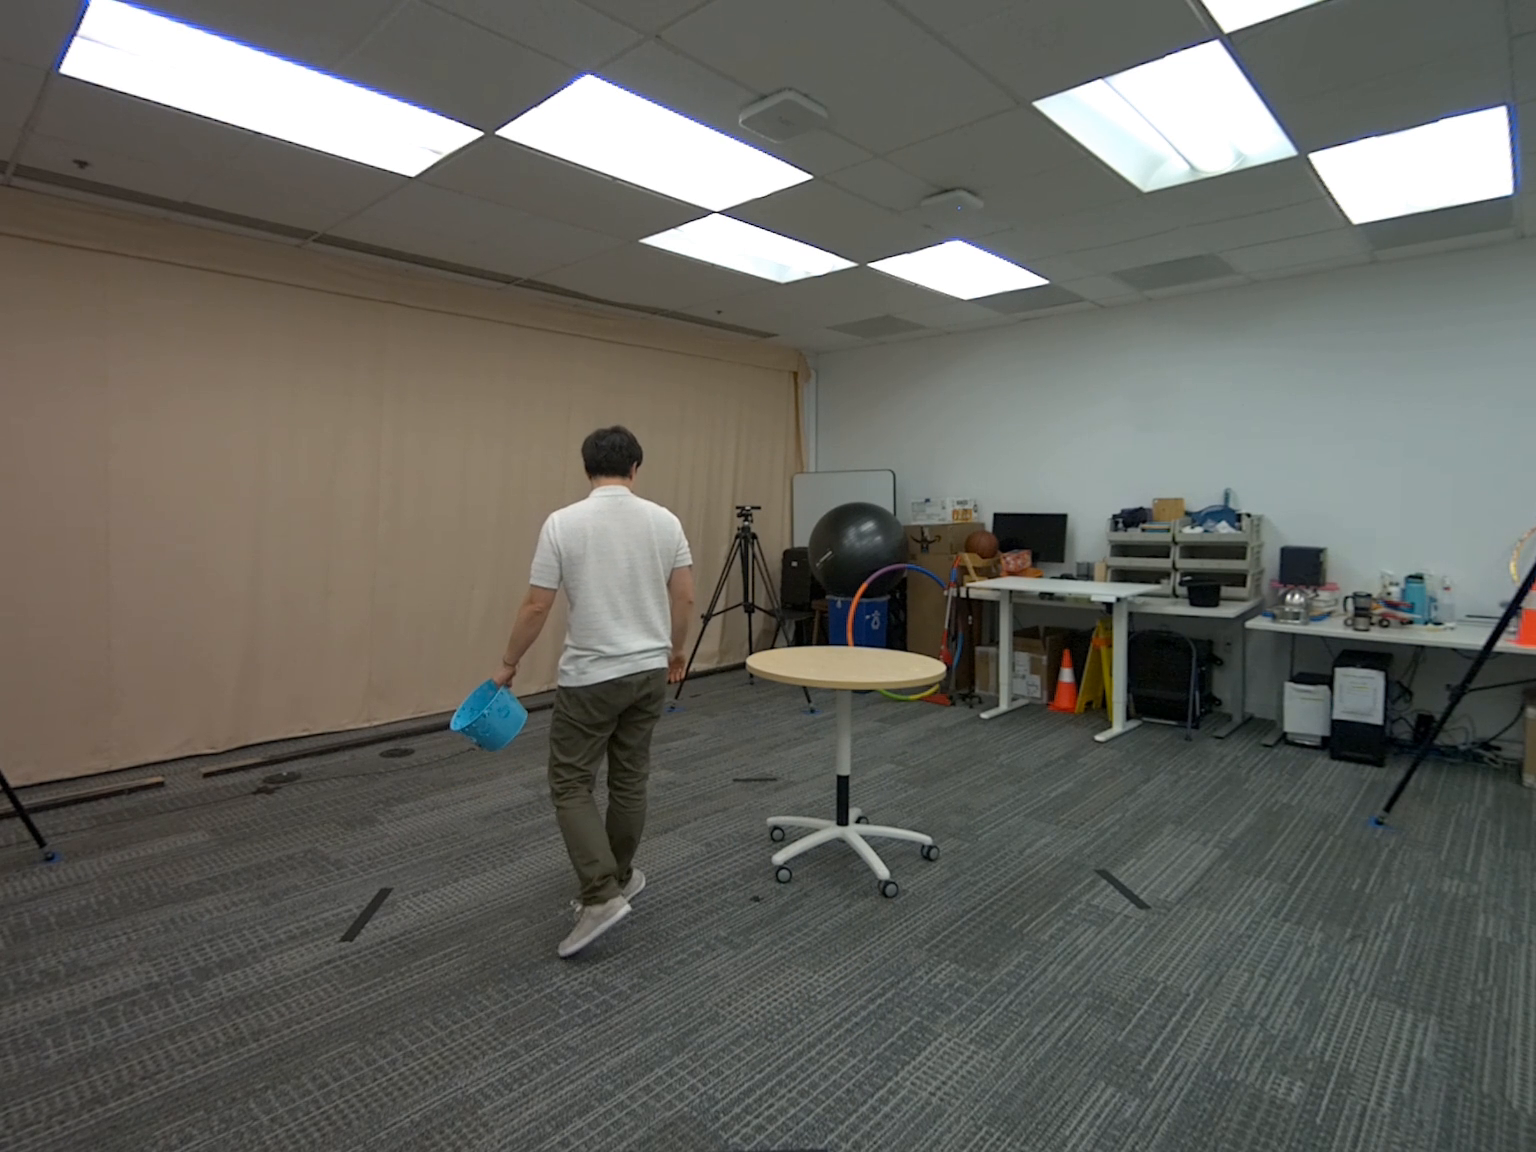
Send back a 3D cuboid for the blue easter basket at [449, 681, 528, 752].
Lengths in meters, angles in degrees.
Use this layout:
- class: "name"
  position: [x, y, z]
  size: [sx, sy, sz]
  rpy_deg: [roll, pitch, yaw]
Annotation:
- class: "blue easter basket"
  position: [-0.946, 0.486, 2.870]
  size: [0.245, 0.152, 0.248]
  rpy_deg: [-33, 25, 15]
